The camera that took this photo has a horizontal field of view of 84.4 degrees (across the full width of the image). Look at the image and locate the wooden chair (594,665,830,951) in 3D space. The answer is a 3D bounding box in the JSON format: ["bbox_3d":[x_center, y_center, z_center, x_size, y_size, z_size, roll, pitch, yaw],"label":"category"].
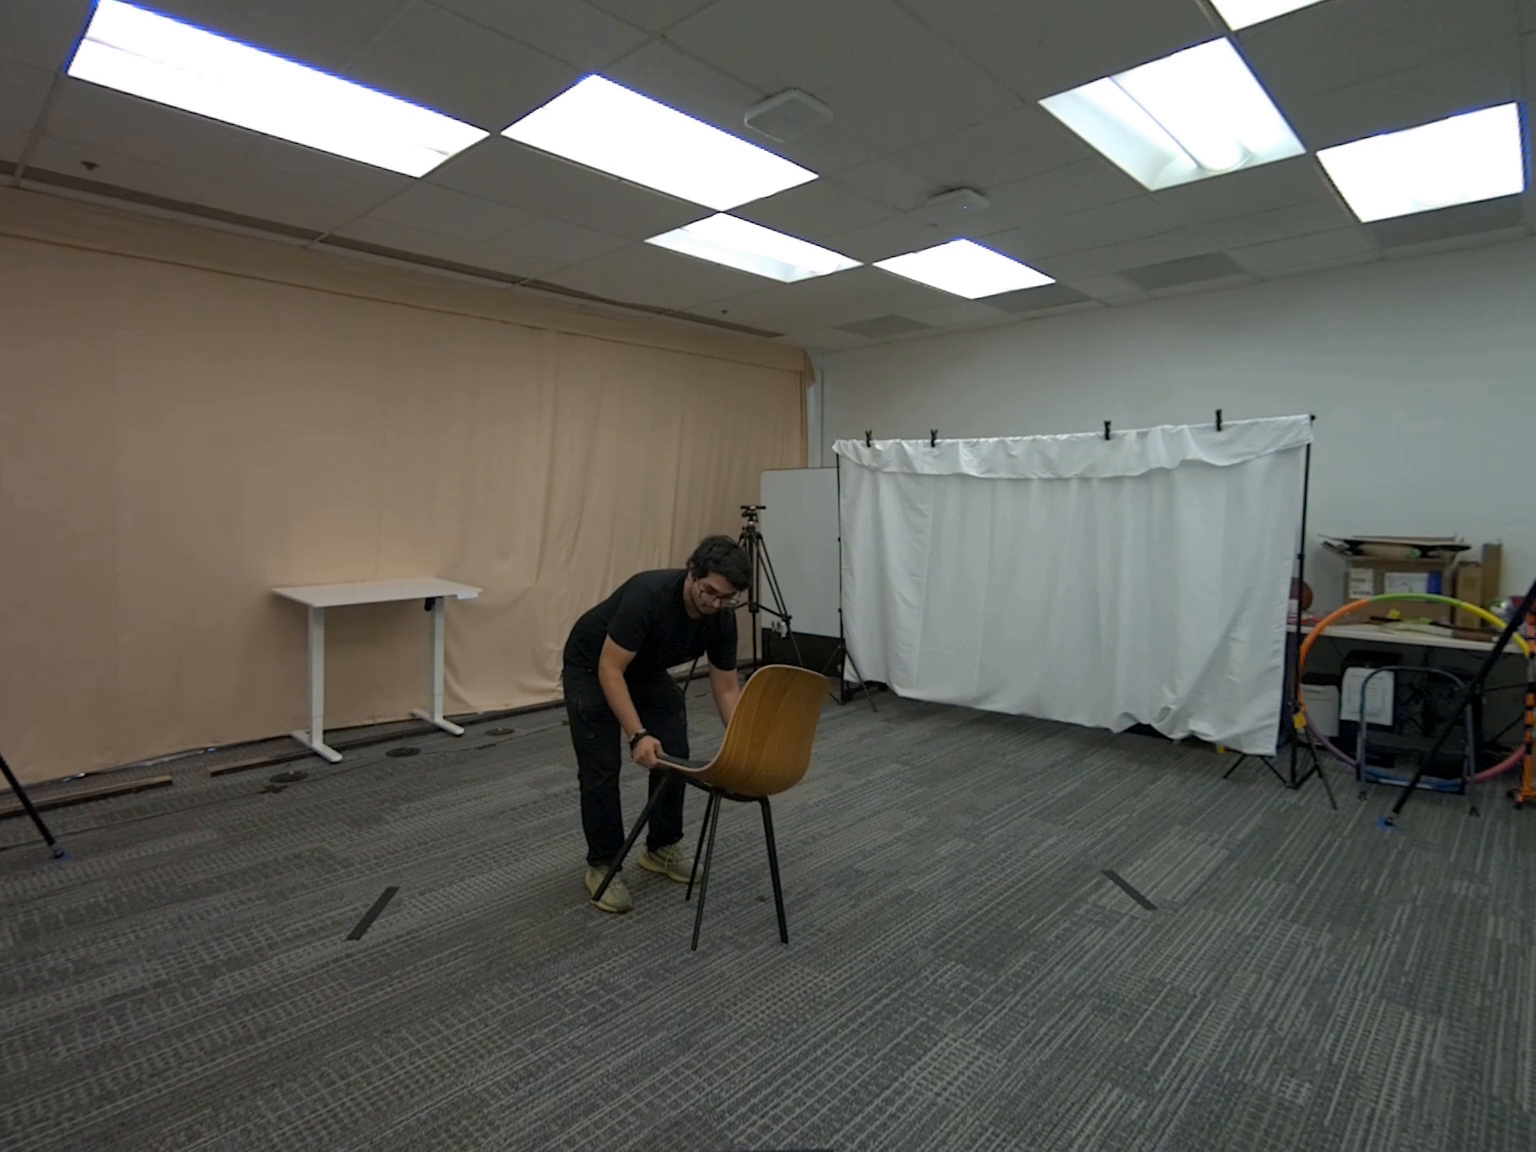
[{"bbox_3d":[-0.161,0.689,2.744,0.541,0.879,0.461,8,-10,42],"label":"wooden chair"}]
